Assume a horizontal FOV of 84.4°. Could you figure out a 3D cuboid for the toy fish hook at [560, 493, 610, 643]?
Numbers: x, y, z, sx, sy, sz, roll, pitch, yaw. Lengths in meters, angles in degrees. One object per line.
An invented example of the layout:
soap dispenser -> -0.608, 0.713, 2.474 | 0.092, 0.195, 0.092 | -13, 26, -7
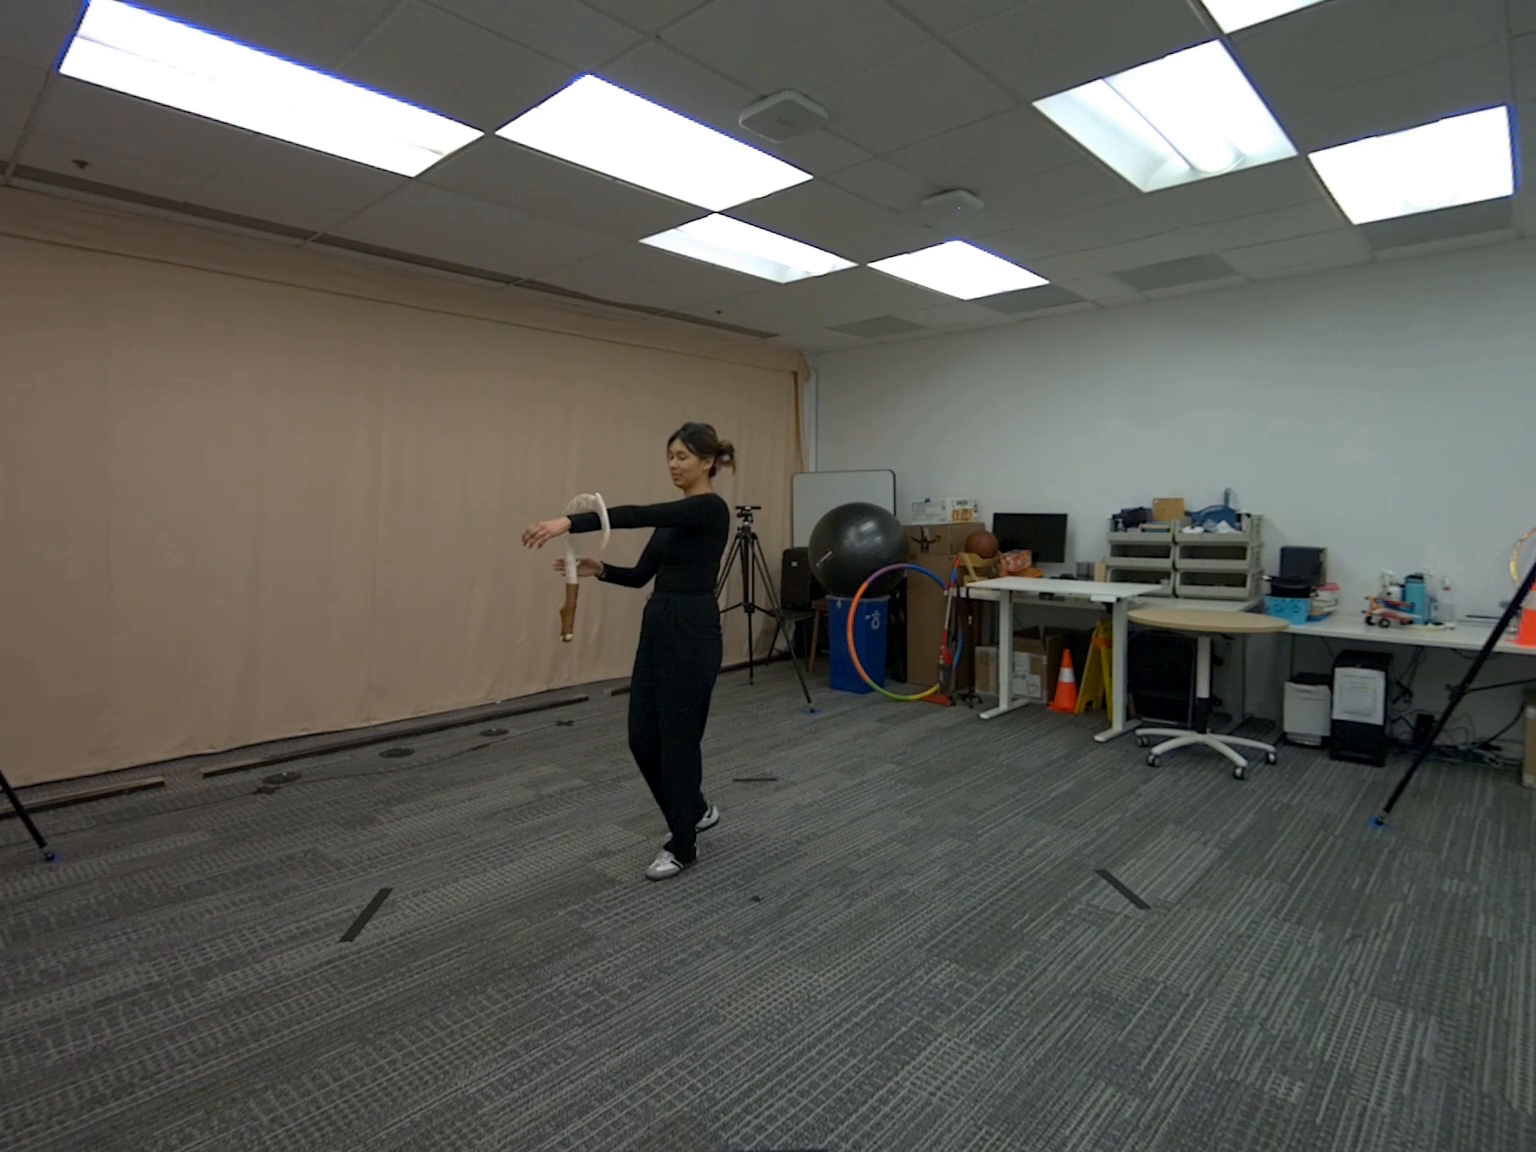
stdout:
toy fish hook -> -0.614, -0.024, 2.844 | 0.232, 0.508, 0.047 | 0, -5, 39
